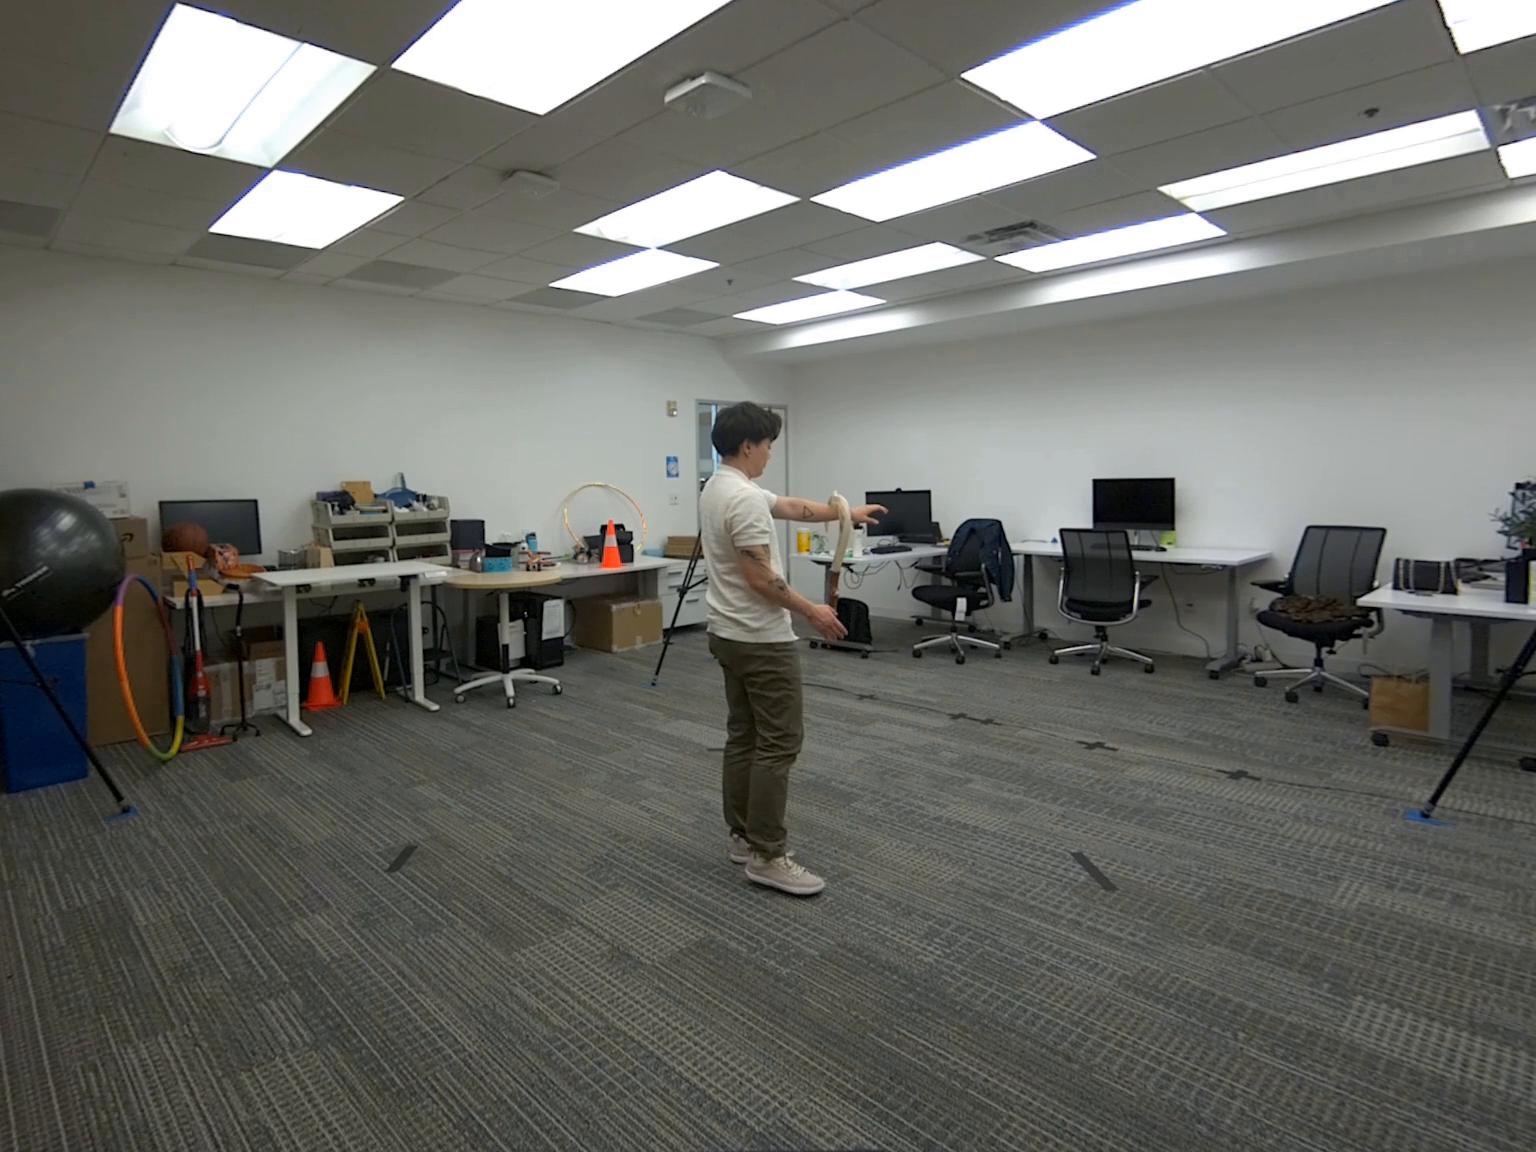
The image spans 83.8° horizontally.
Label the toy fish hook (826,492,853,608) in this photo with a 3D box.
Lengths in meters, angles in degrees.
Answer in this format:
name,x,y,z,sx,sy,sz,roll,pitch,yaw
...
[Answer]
name,x,y,z,sx,sy,sz,roll,pitch,yaw
toy fish hook,0.268,-0.088,3.474,0.048,0.499,0.231,0,18,-15
